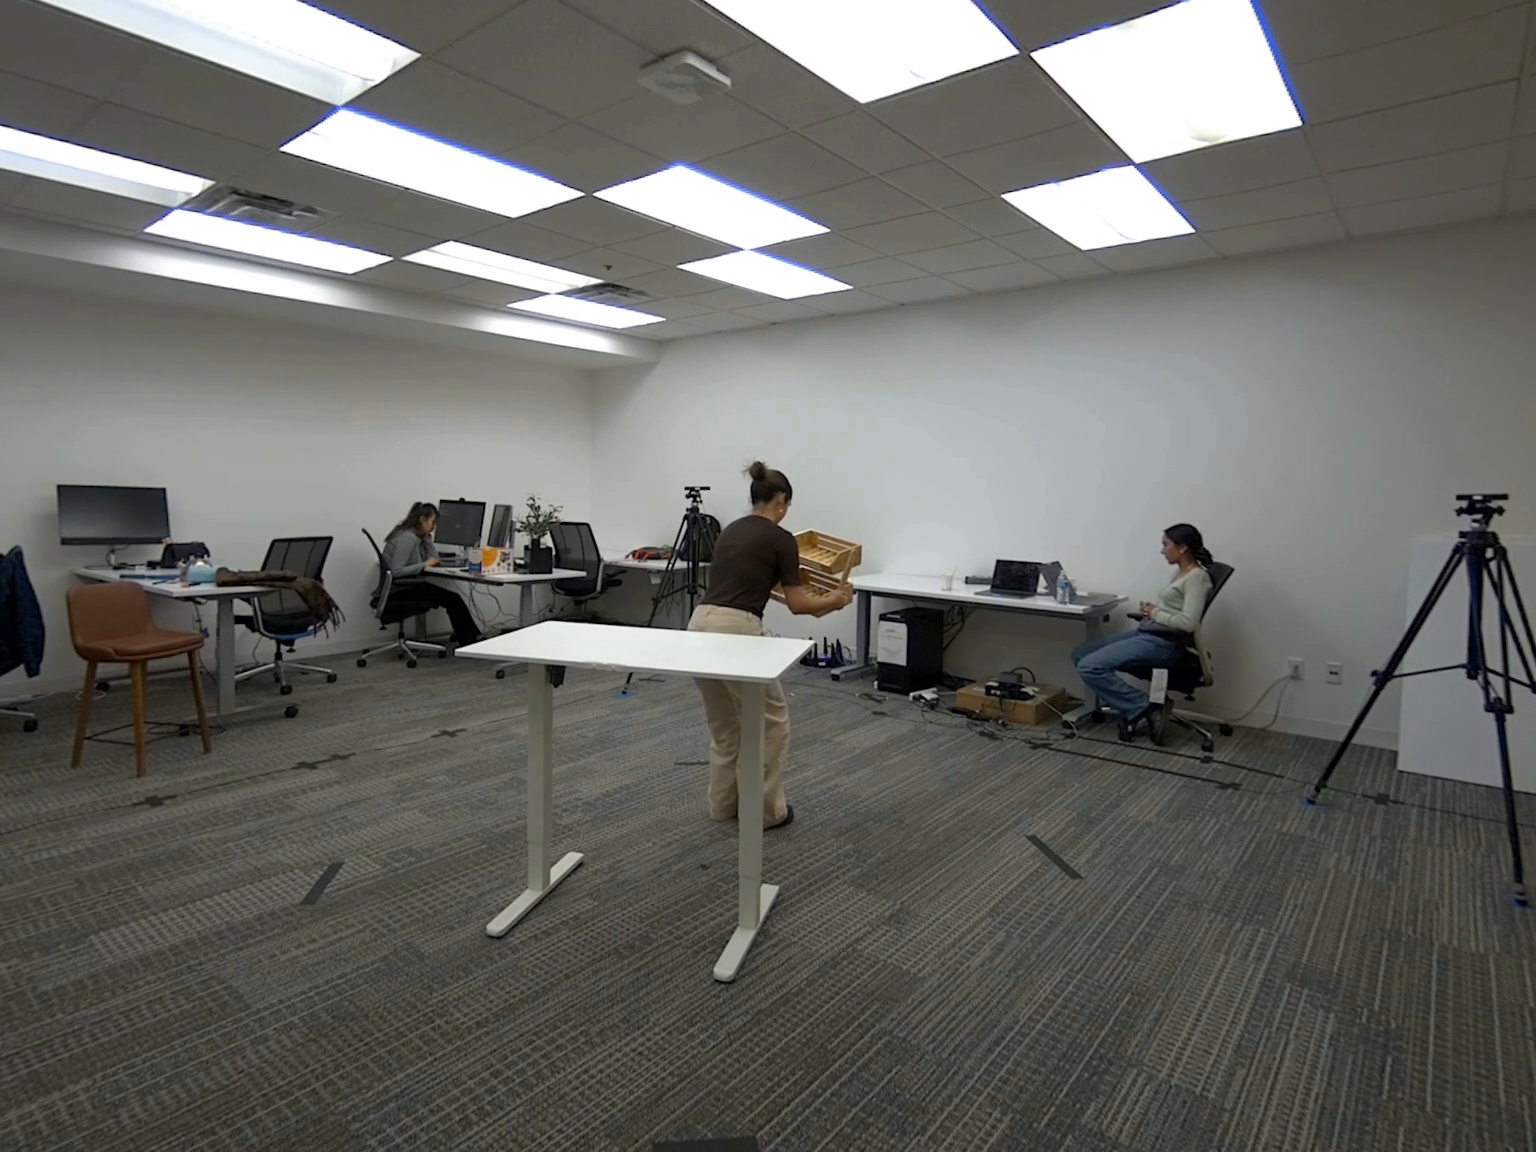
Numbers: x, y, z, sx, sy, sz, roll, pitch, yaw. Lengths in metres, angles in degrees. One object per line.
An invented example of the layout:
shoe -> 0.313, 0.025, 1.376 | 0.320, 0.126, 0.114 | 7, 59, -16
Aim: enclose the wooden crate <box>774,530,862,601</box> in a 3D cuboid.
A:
wooden crate -> 0.188, -0.024, 3.763 | 0.296, 0.268, 0.337 | -19, 28, -40
